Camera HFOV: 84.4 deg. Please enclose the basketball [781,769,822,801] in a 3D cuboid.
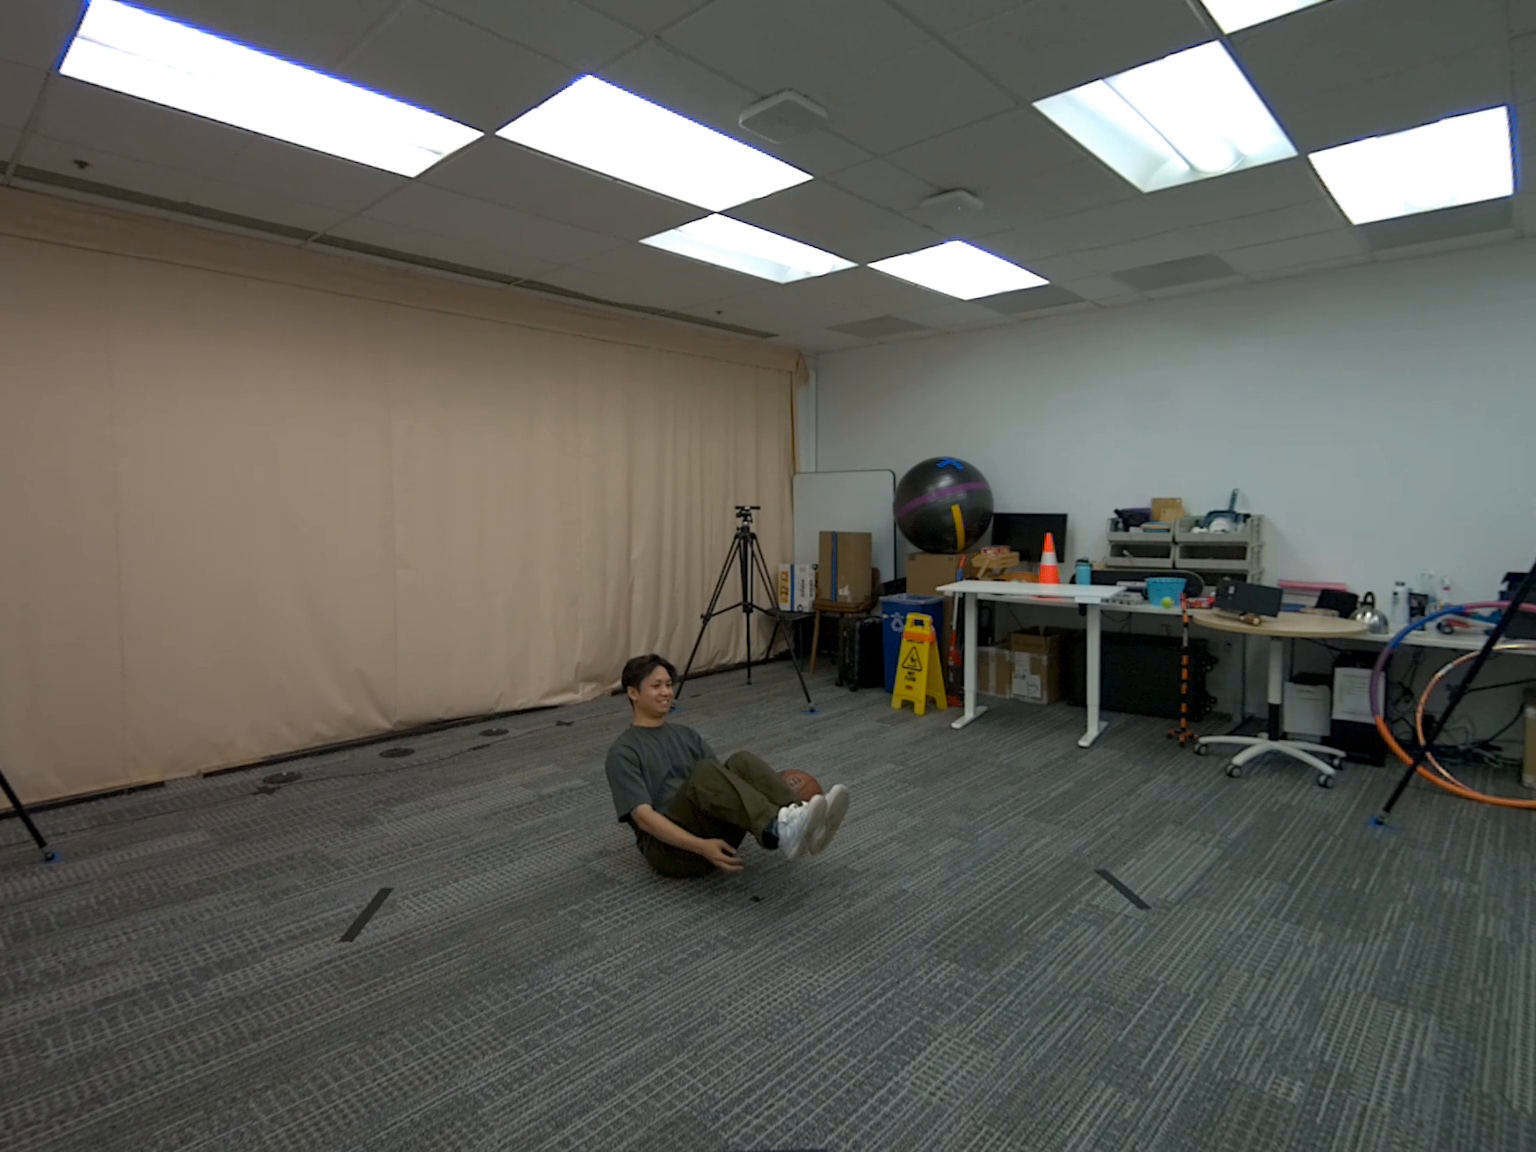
[{"bbox_3d":[0.099,0.848,3.180,0.236,0.235,0.237,0,4,-2],"label":"basketball"}]
